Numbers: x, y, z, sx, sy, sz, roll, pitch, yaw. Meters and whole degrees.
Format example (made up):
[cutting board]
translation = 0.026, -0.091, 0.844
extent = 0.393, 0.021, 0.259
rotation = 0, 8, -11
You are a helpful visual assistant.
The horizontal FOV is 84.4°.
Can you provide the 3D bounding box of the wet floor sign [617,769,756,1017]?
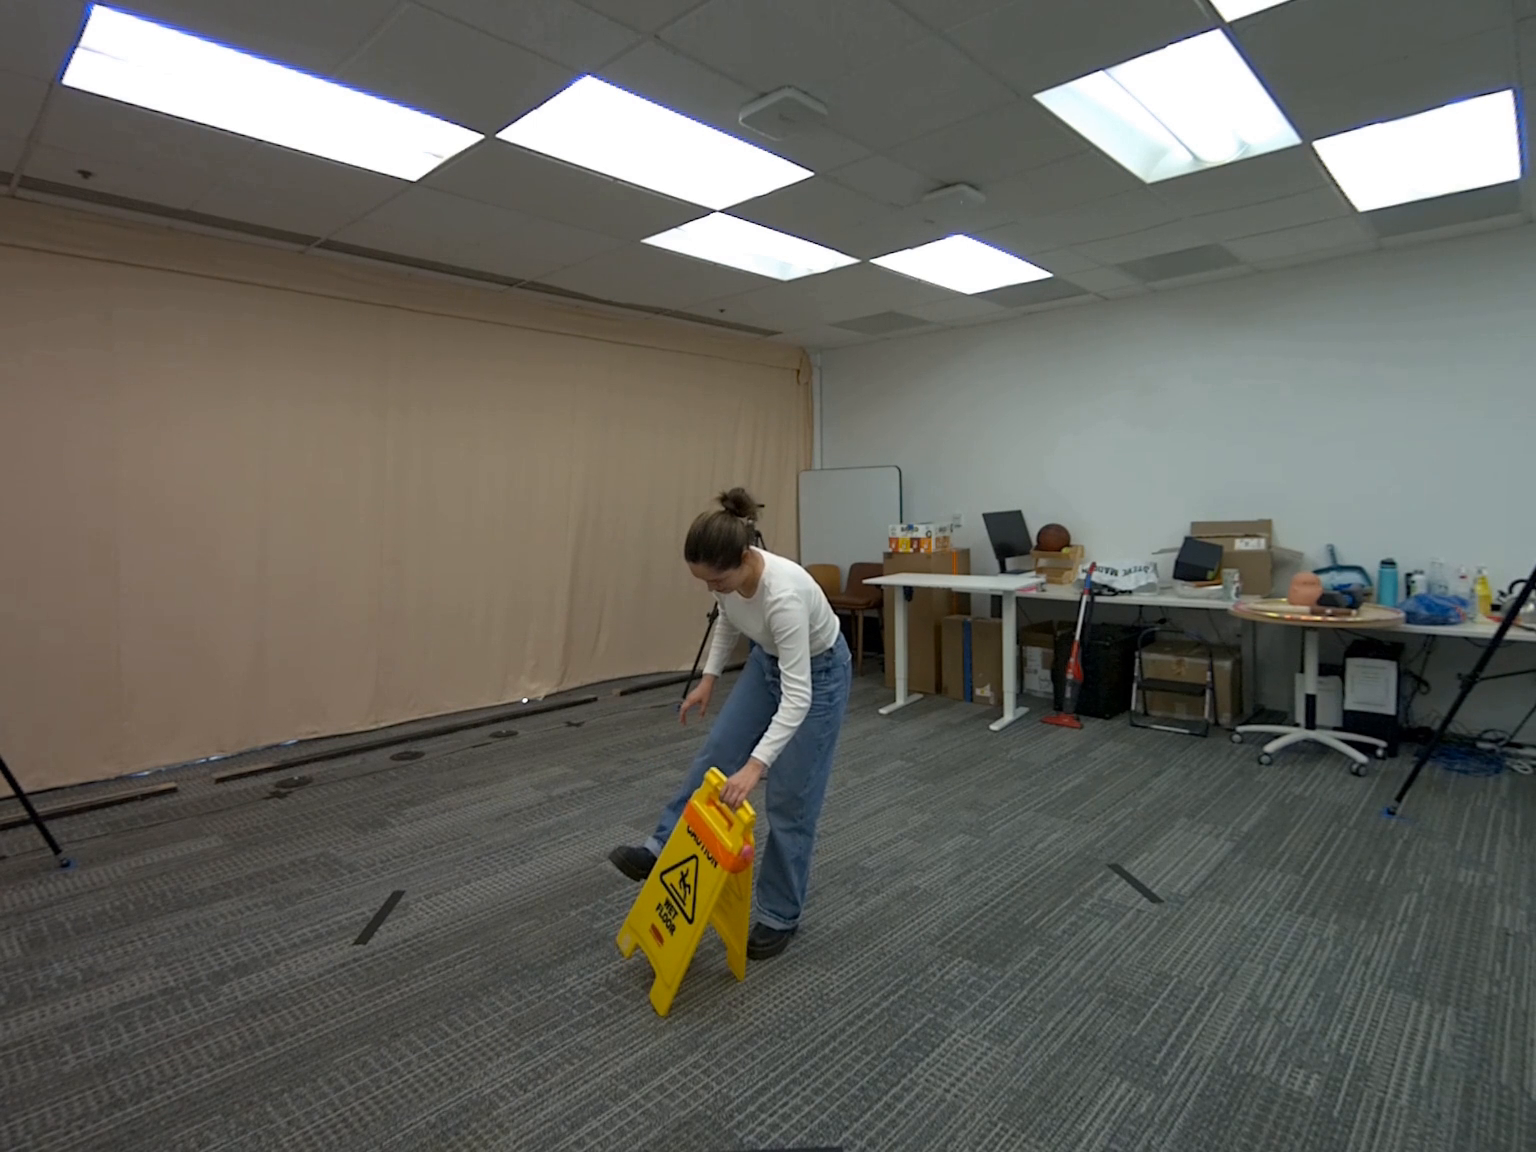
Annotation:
[wet floor sign]
translation = -0.177, 0.849, 2.360
extent = 0.281, 0.642, 0.293
rotation = -3, 30, -40
